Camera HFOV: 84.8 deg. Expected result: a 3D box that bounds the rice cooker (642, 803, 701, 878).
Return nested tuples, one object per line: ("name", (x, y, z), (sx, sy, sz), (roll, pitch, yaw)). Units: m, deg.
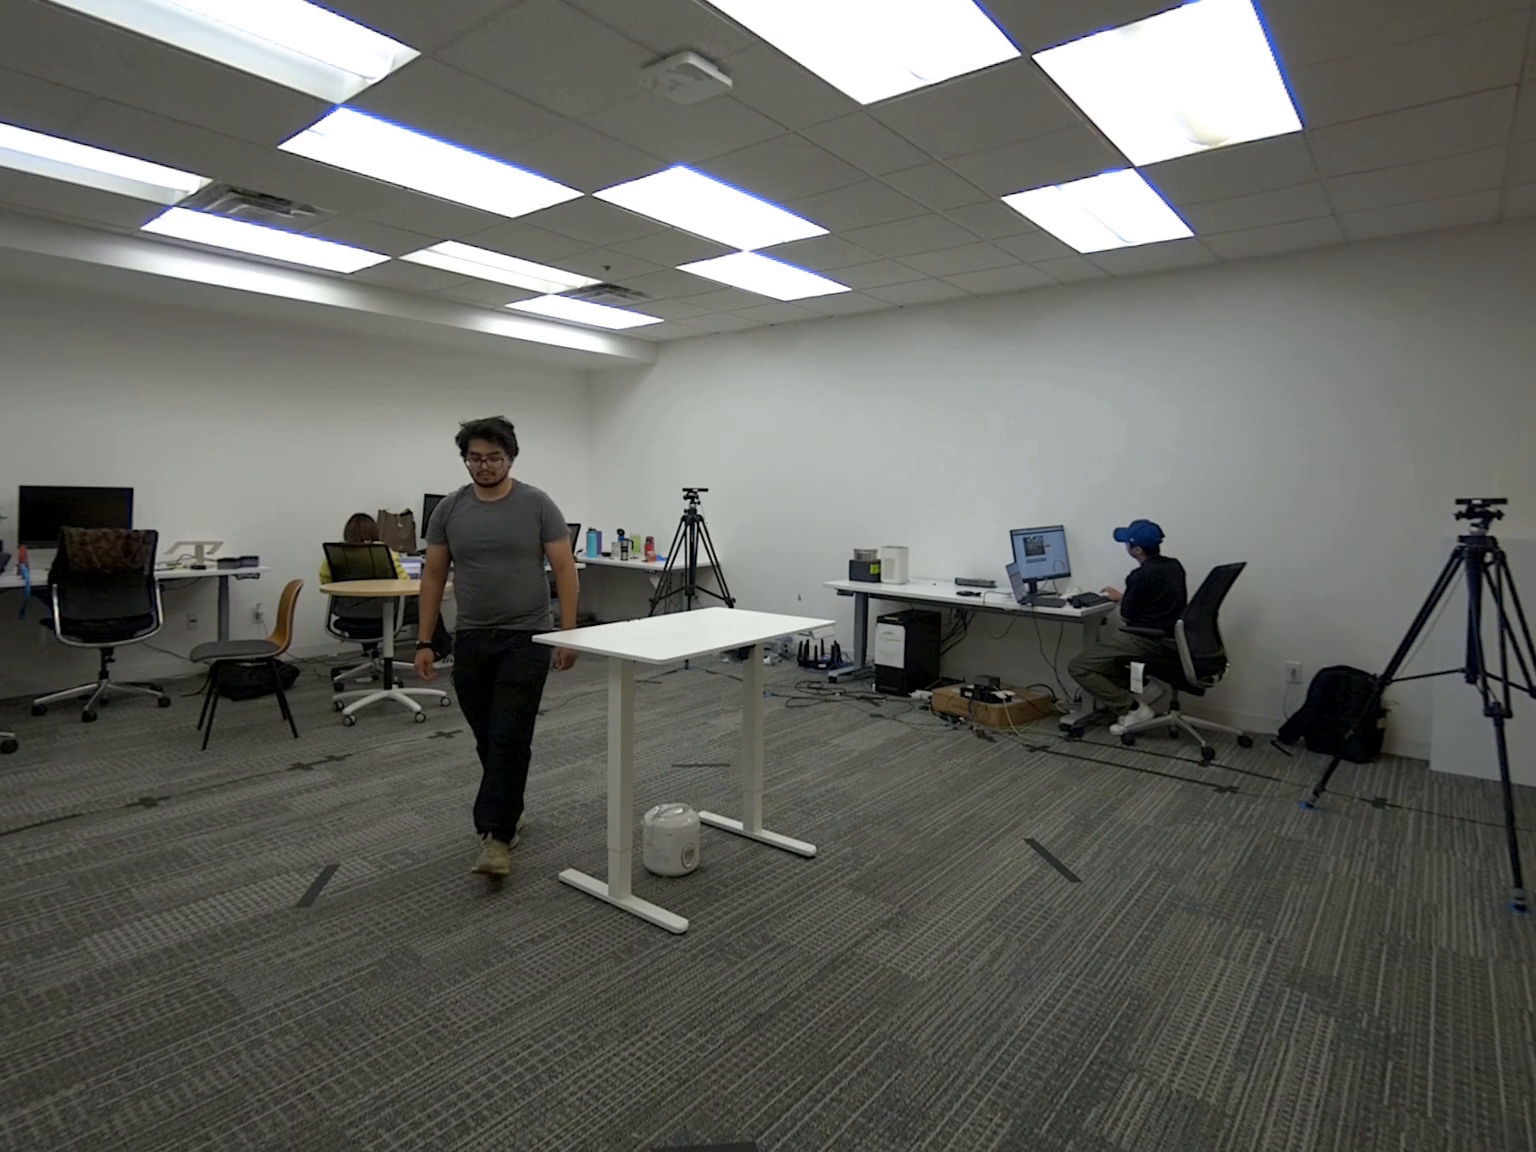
("rice cooker", (-0.363, 0.955, 3.116), (0.214, 0.232, 0.224), (-2, 3, -40))
